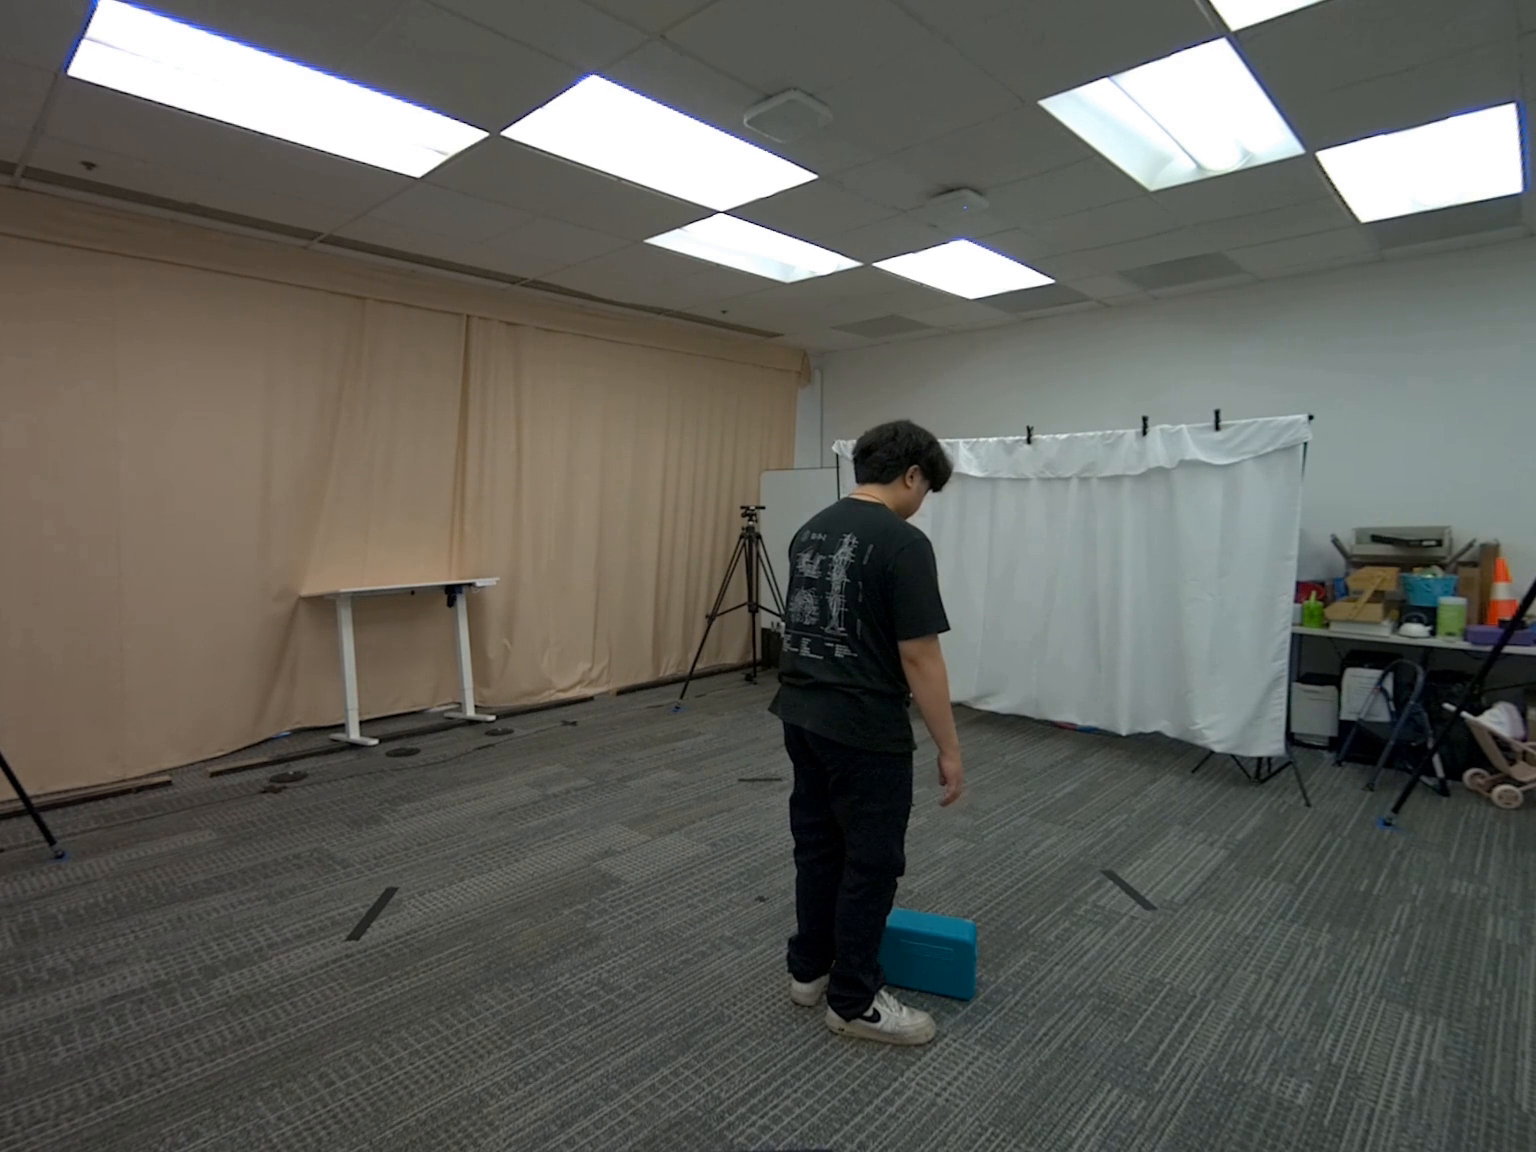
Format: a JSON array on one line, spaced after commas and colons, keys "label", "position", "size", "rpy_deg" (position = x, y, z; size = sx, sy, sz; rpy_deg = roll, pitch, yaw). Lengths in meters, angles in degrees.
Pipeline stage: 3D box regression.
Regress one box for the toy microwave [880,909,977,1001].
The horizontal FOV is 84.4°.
[{"label": "toy microwave", "position": [0.466, 1.096, 2.459], "size": [0.293, 0.183, 0.149], "rpy_deg": [2, 5, 21]}]
